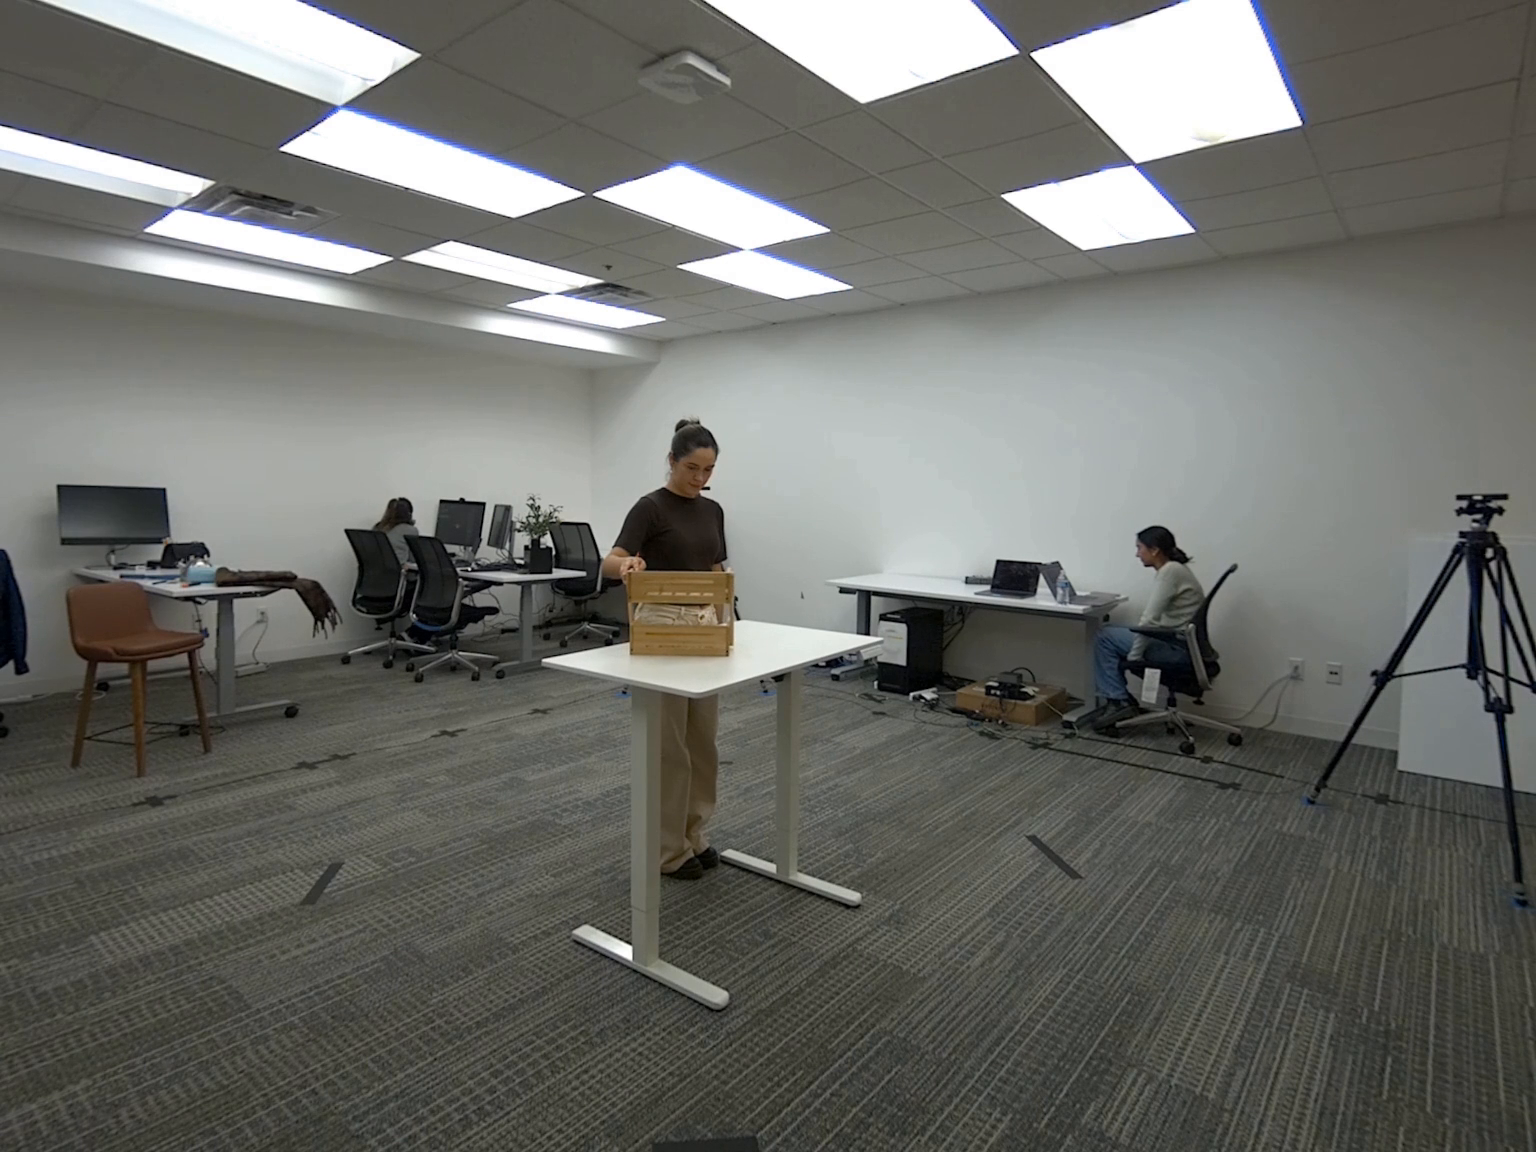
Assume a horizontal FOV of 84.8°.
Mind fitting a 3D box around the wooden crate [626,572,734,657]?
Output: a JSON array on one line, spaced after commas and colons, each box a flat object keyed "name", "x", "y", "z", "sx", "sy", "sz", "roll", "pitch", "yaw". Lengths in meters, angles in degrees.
[{"name": "wooden crate", "x": -0.278, "y": 0.097, "z": 2.660, "sx": 0.325, "sy": 0.272, "sz": 0.303, "roll": -1, "pitch": 4, "yaw": 1}]
